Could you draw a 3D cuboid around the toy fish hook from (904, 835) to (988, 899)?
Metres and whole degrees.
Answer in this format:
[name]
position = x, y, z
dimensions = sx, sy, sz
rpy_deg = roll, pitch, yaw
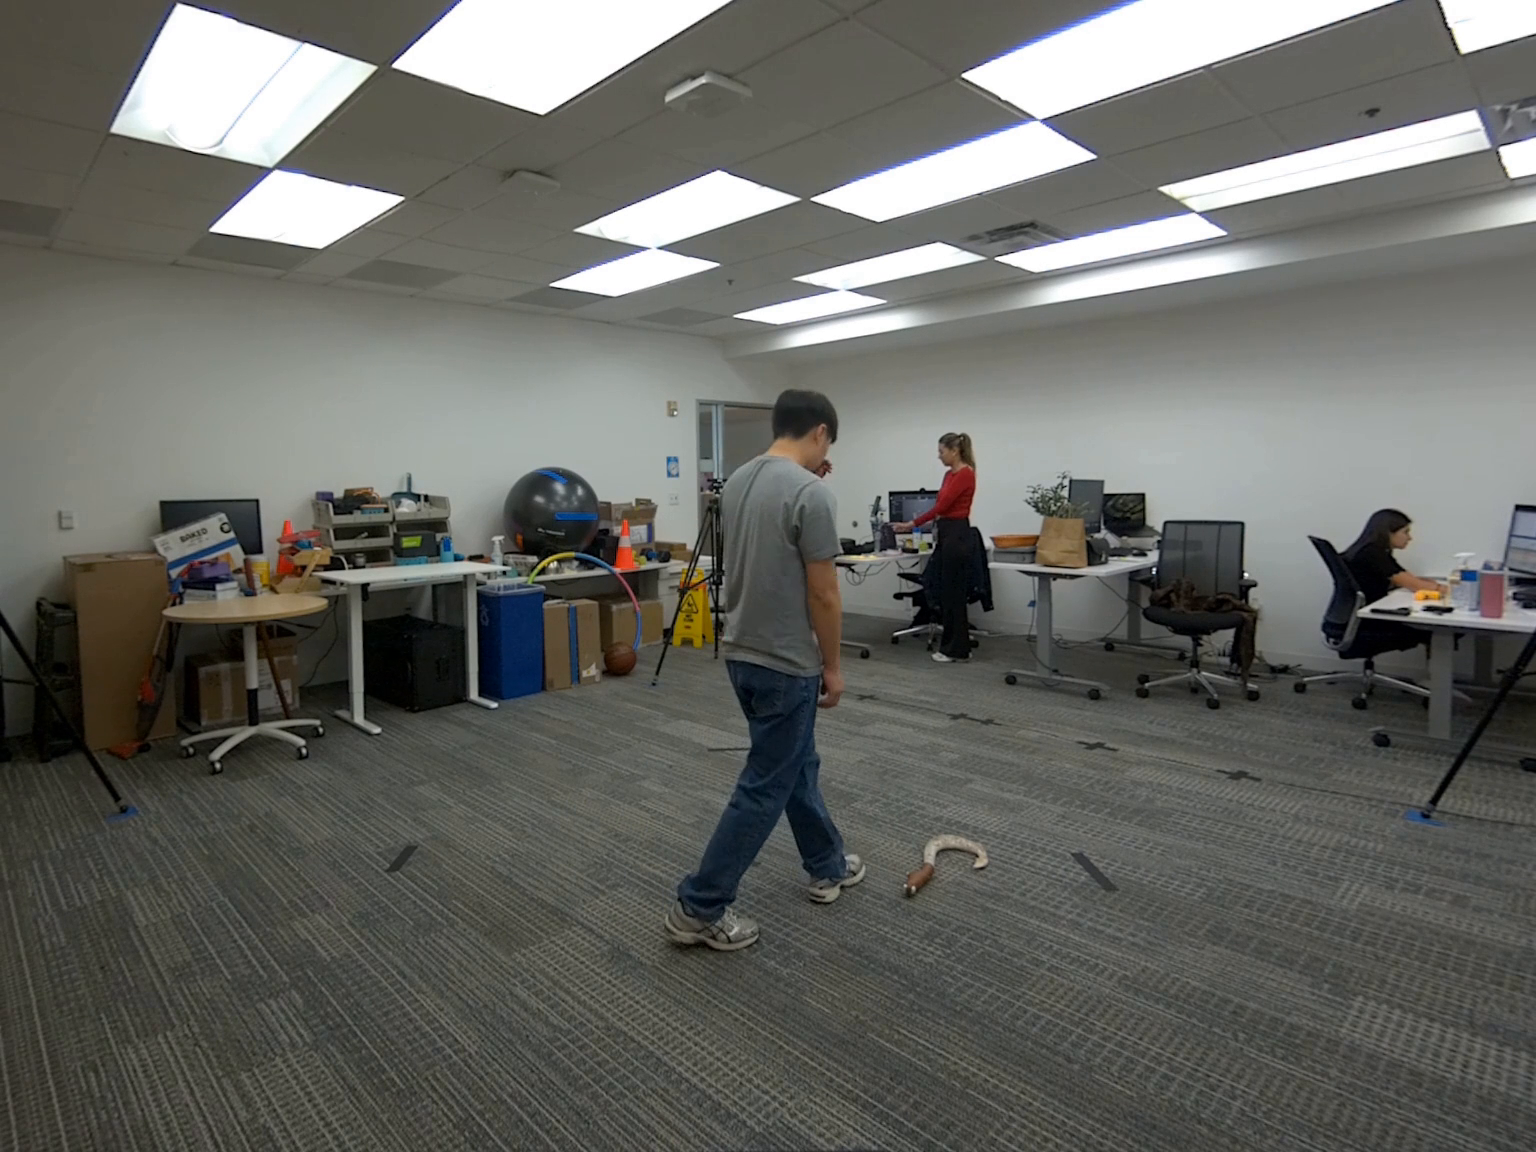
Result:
[toy fish hook]
position = 0.629, 1.021, 3.007
dimensions = 0.230, 0.048, 0.496
rpy_deg = 1, 7, 30
